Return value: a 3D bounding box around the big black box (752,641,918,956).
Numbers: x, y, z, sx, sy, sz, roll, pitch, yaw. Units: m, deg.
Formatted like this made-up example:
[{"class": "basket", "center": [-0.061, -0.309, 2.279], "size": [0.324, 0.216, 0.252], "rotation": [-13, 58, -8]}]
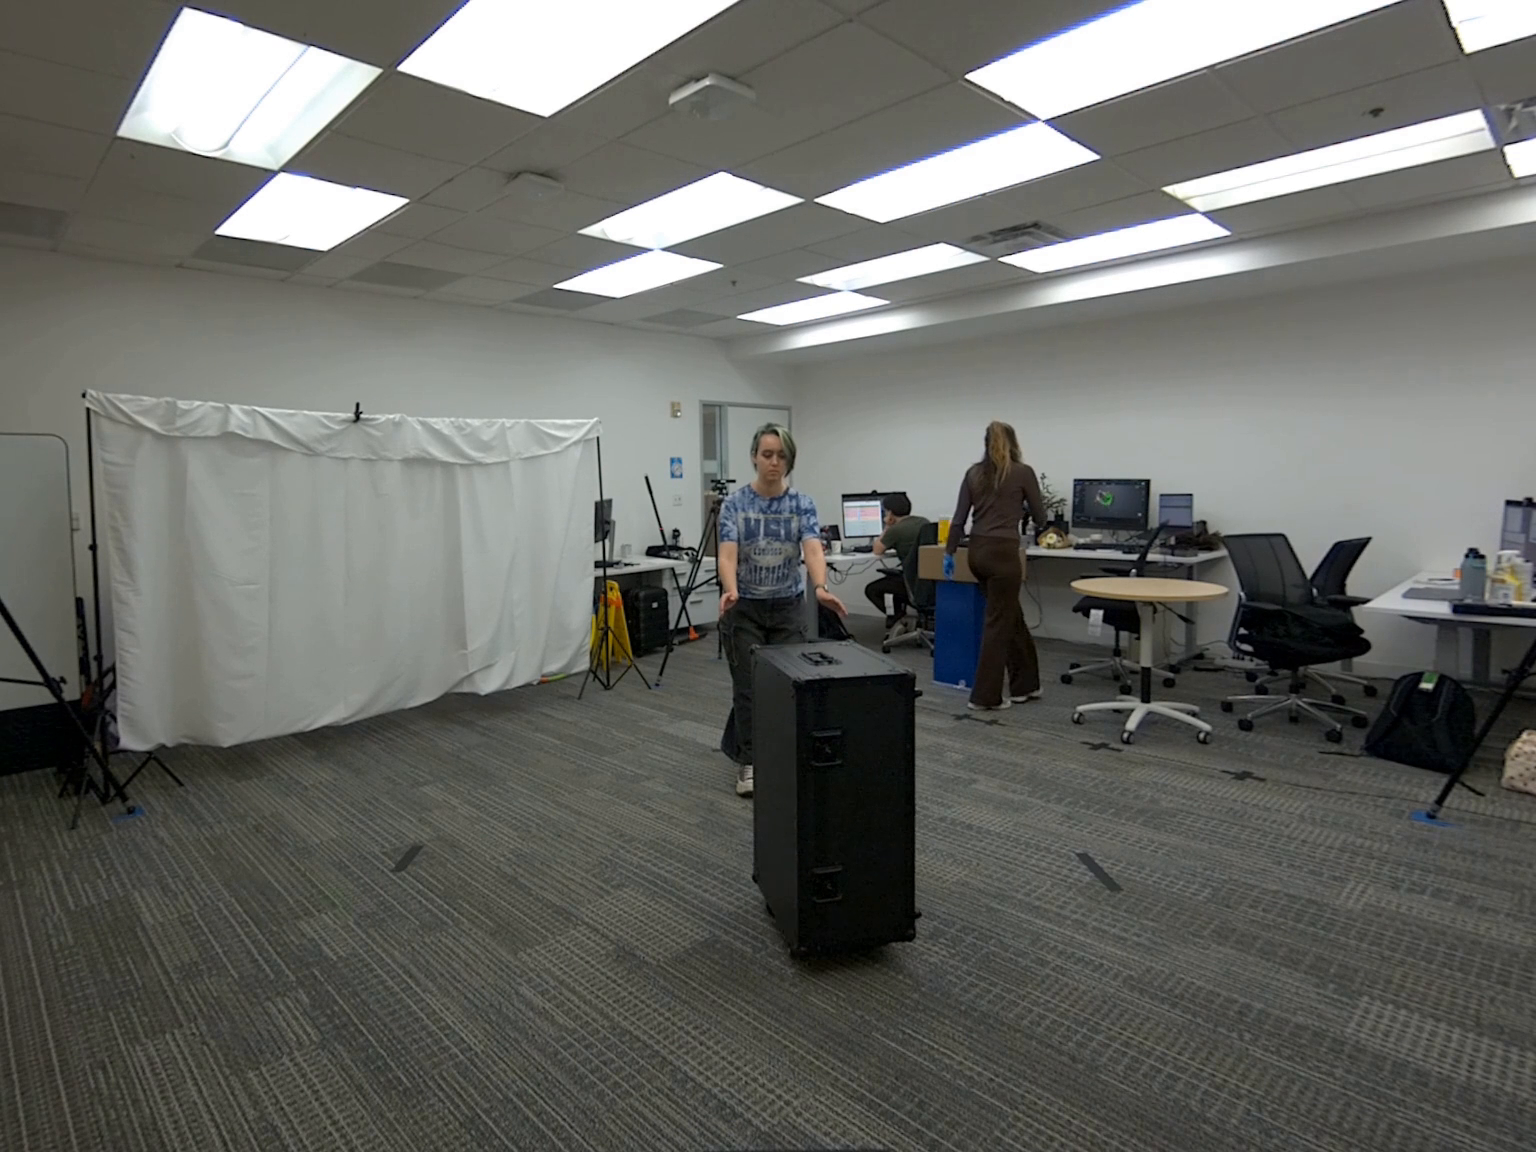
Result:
[{"class": "big black box", "center": [0.192, 0.674, 2.629], "size": [0.391, 0.858, 0.530], "rotation": [-1, 4, -15]}]
